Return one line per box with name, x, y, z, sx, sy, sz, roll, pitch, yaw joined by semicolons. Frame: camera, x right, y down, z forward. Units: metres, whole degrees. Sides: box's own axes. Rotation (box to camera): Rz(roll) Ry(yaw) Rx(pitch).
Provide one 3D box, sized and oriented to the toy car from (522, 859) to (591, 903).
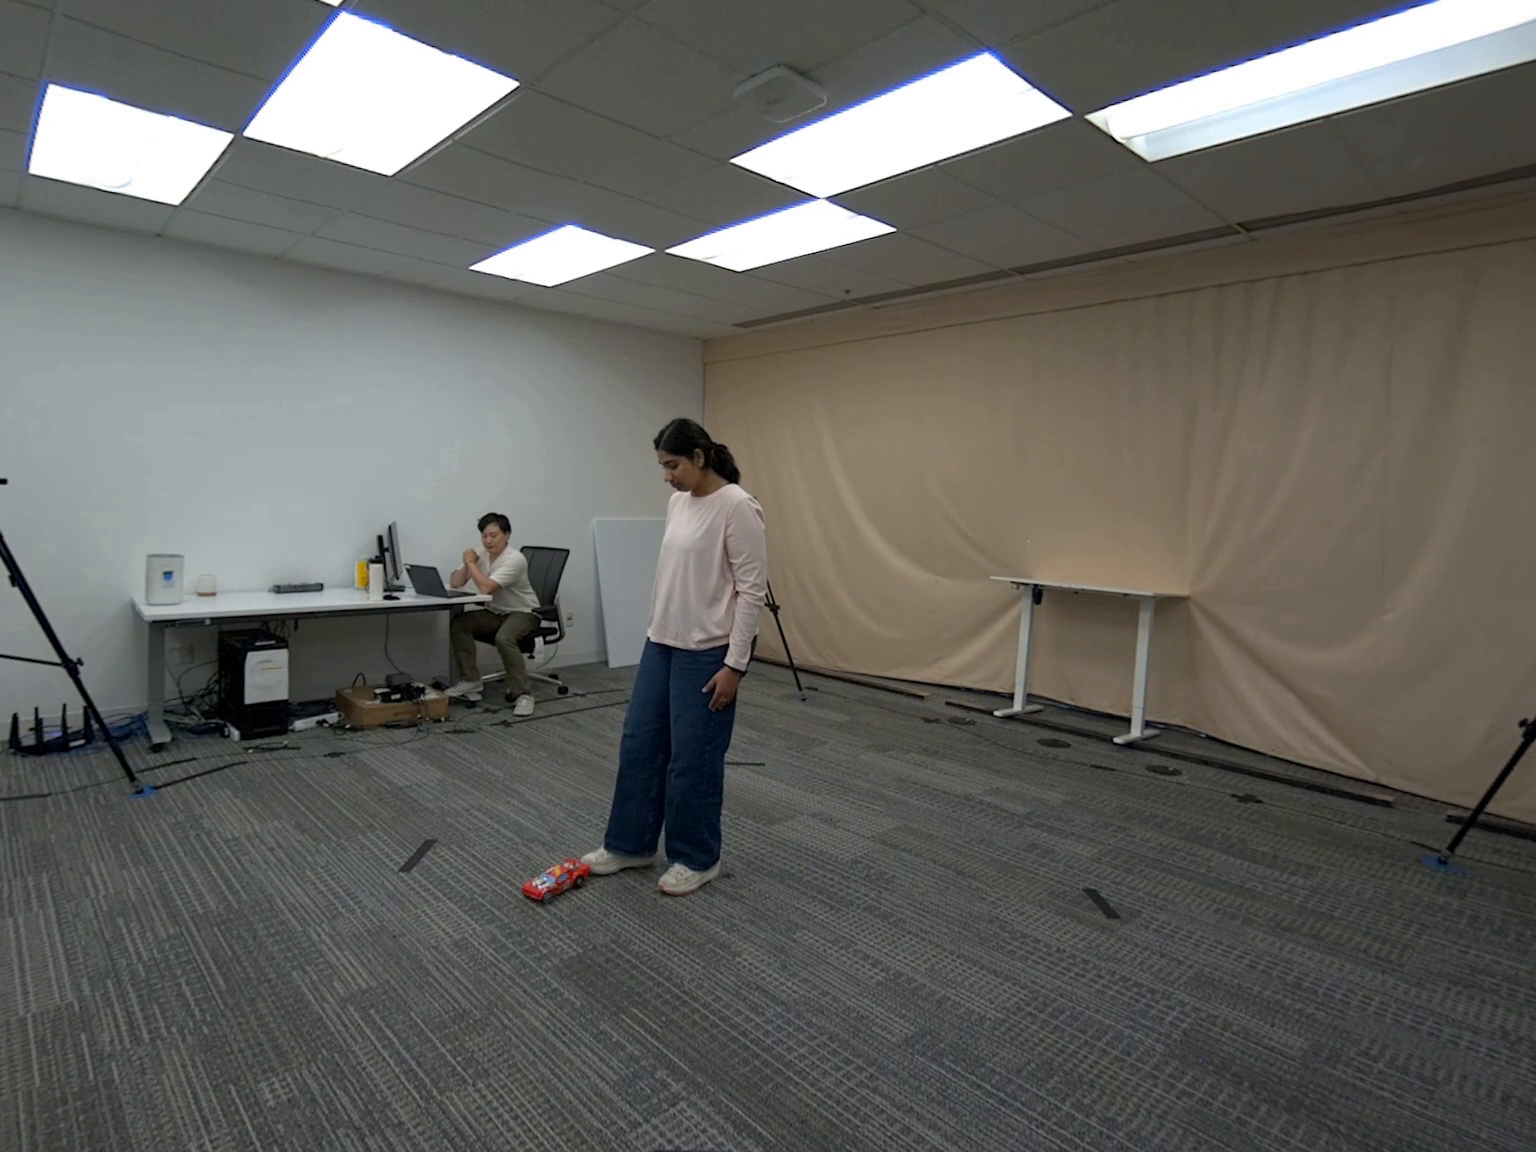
toy car;-0.752;1.078;2.960;0.133;0.082;0.251;4;16;34
